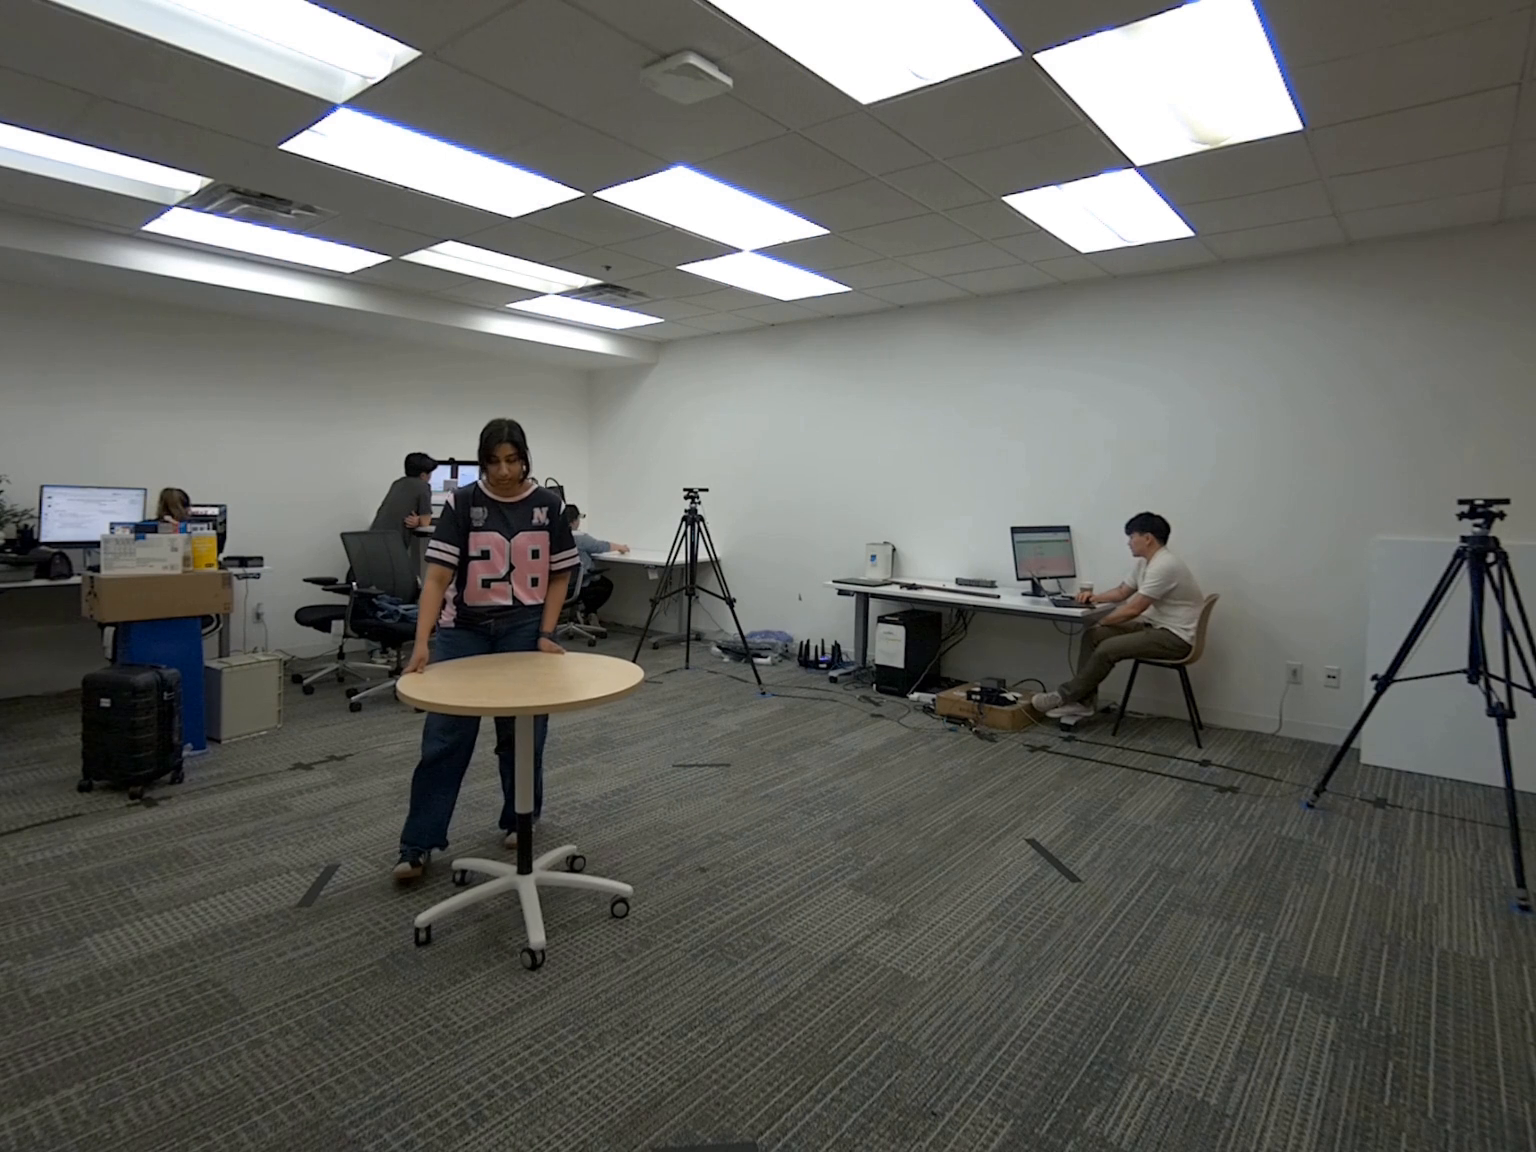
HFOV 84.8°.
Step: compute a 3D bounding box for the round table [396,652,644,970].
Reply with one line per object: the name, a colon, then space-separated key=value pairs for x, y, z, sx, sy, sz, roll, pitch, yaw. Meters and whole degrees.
round table: x=-0.780 y=0.701 z=2.748 sx=0.784 sy=0.784 sz=0.789 roll=0 pitch=4 yaw=-2
